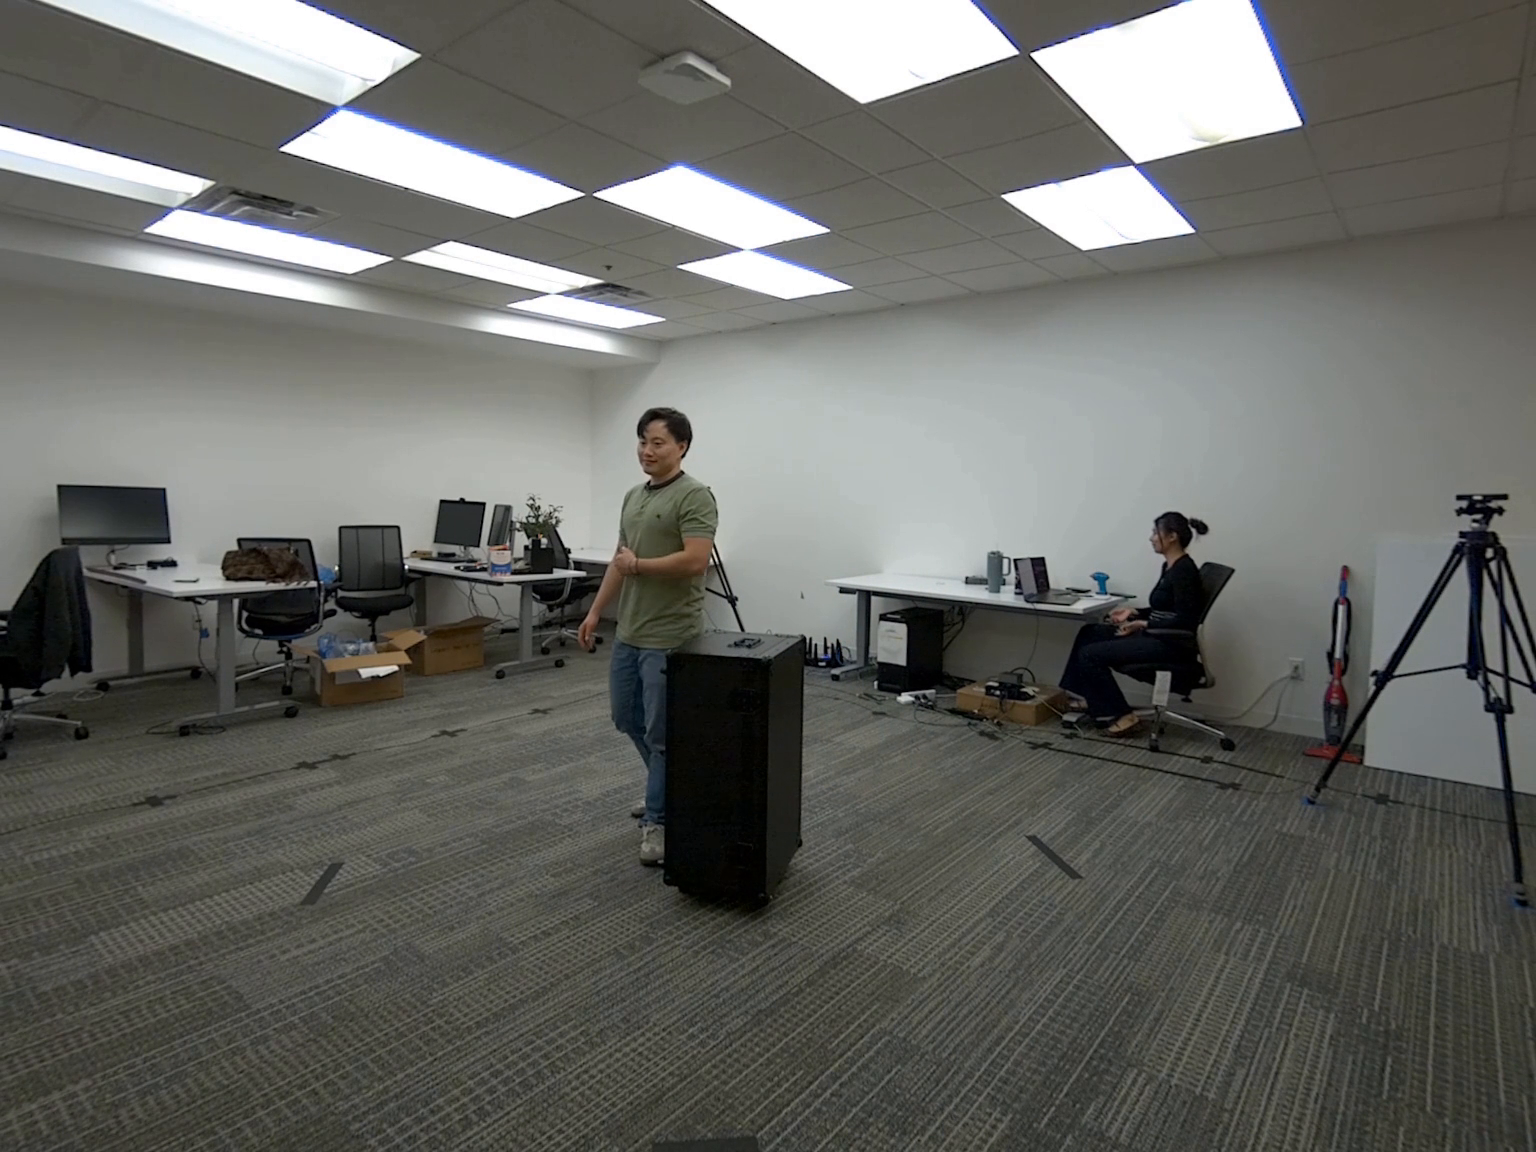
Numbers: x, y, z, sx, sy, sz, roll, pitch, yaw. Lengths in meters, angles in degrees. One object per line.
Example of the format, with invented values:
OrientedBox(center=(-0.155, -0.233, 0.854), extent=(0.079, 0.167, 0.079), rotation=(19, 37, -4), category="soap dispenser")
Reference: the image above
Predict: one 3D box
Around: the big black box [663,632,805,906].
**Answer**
OrientedBox(center=(-0.121, 0.653, 2.963), extent=(0.404, 0.859, 0.513), rotation=(1, 4, 18), category="big black box")
